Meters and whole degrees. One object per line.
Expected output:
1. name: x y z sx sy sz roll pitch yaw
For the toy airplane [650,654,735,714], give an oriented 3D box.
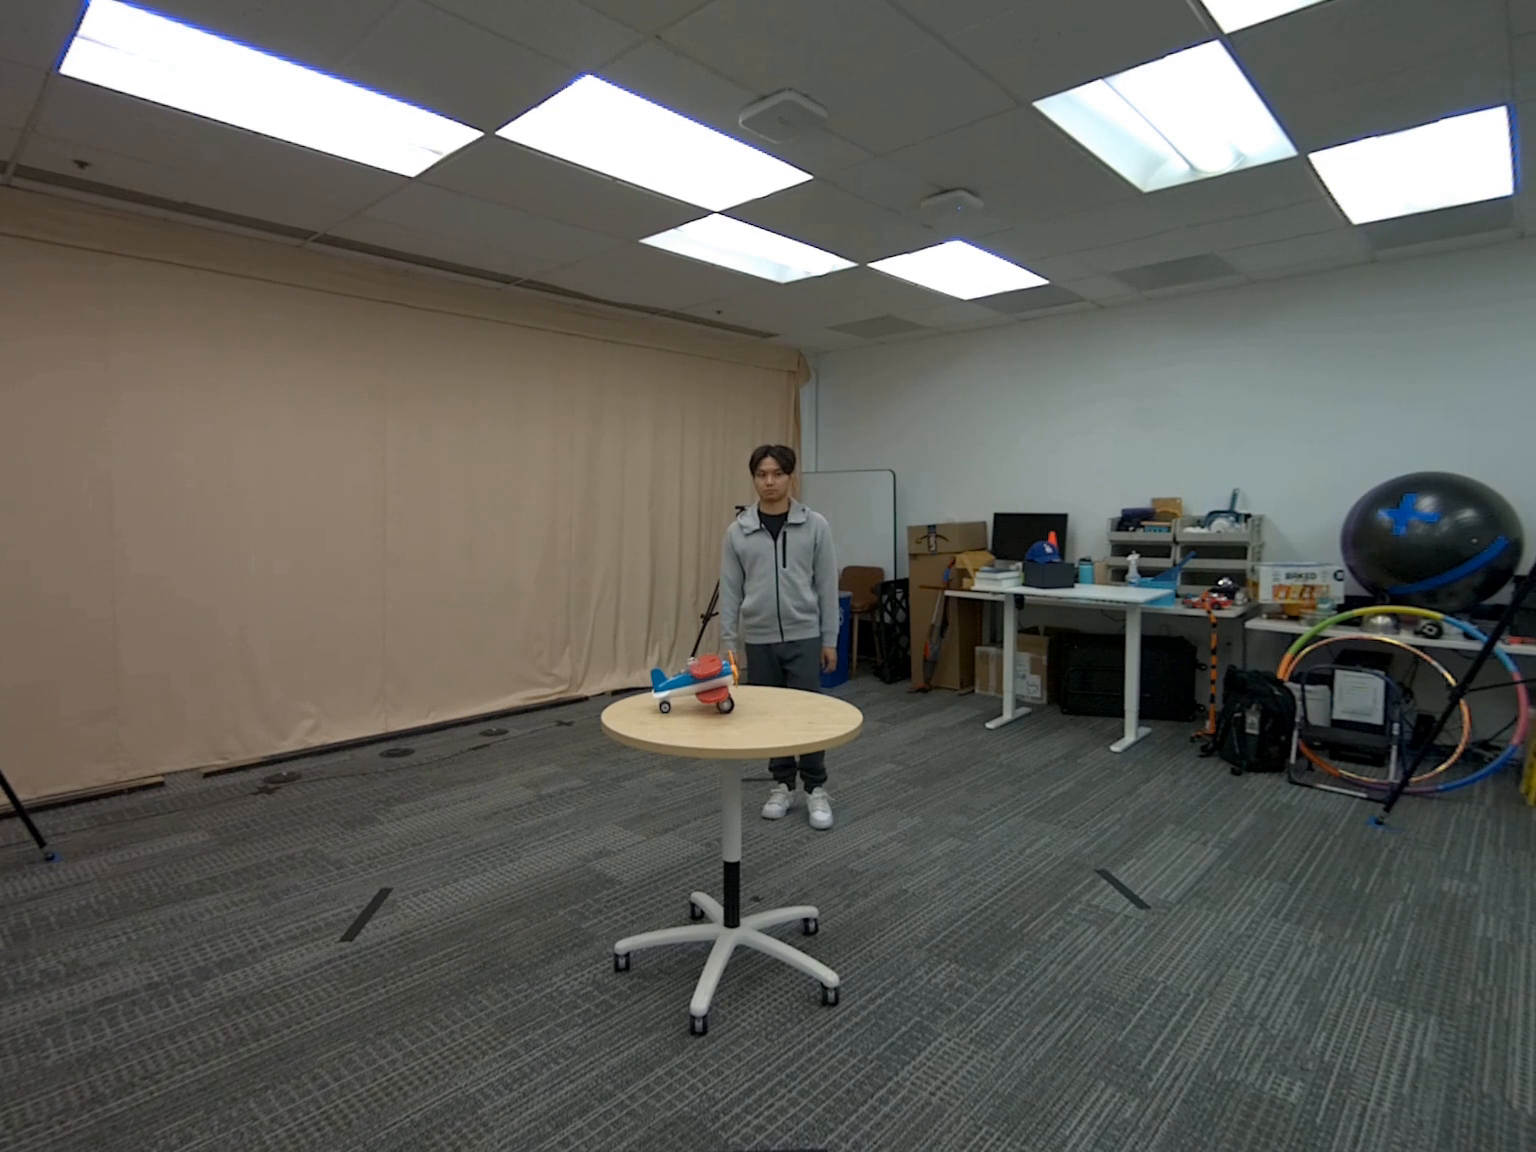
1. toy airplane: -0.220 0.330 2.491 0.252 0.156 0.259 -3 4 -33
